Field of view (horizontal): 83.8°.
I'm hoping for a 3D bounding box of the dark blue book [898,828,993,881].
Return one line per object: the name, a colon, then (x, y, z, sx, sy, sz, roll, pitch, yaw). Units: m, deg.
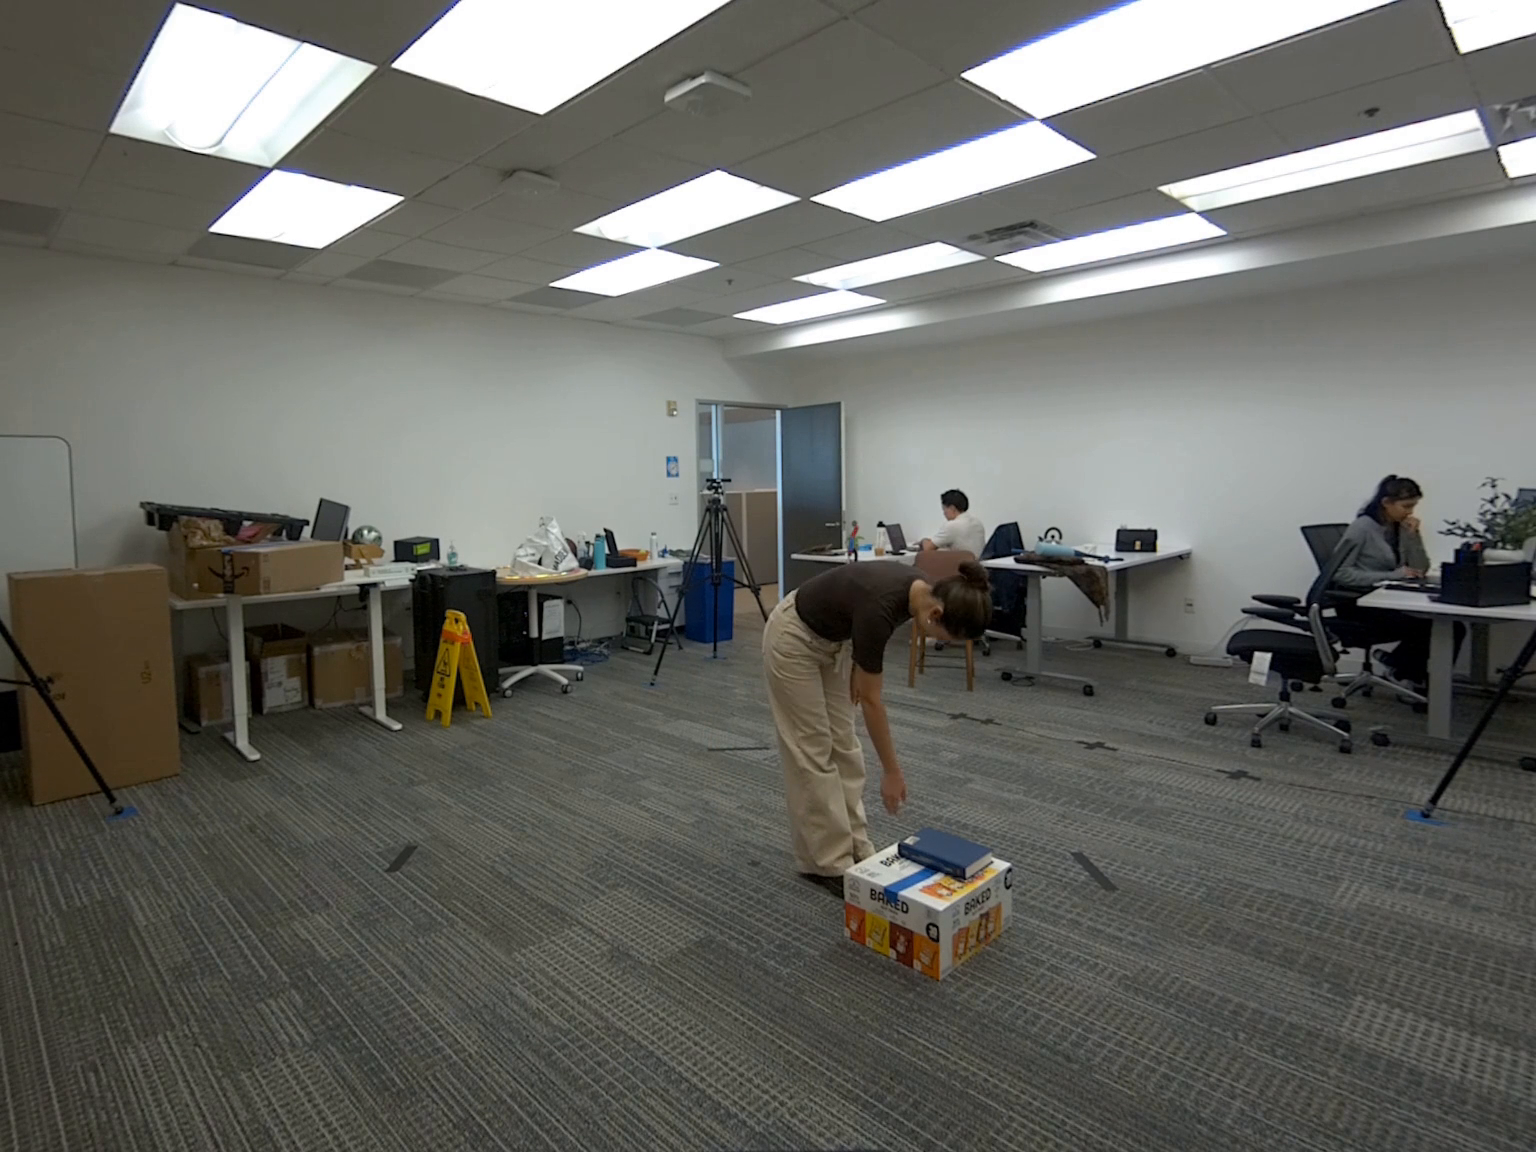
dark blue book: (0.556, 0.863, 2.669, 0.159, 0.045, 0.253, -11, 11, -44)
